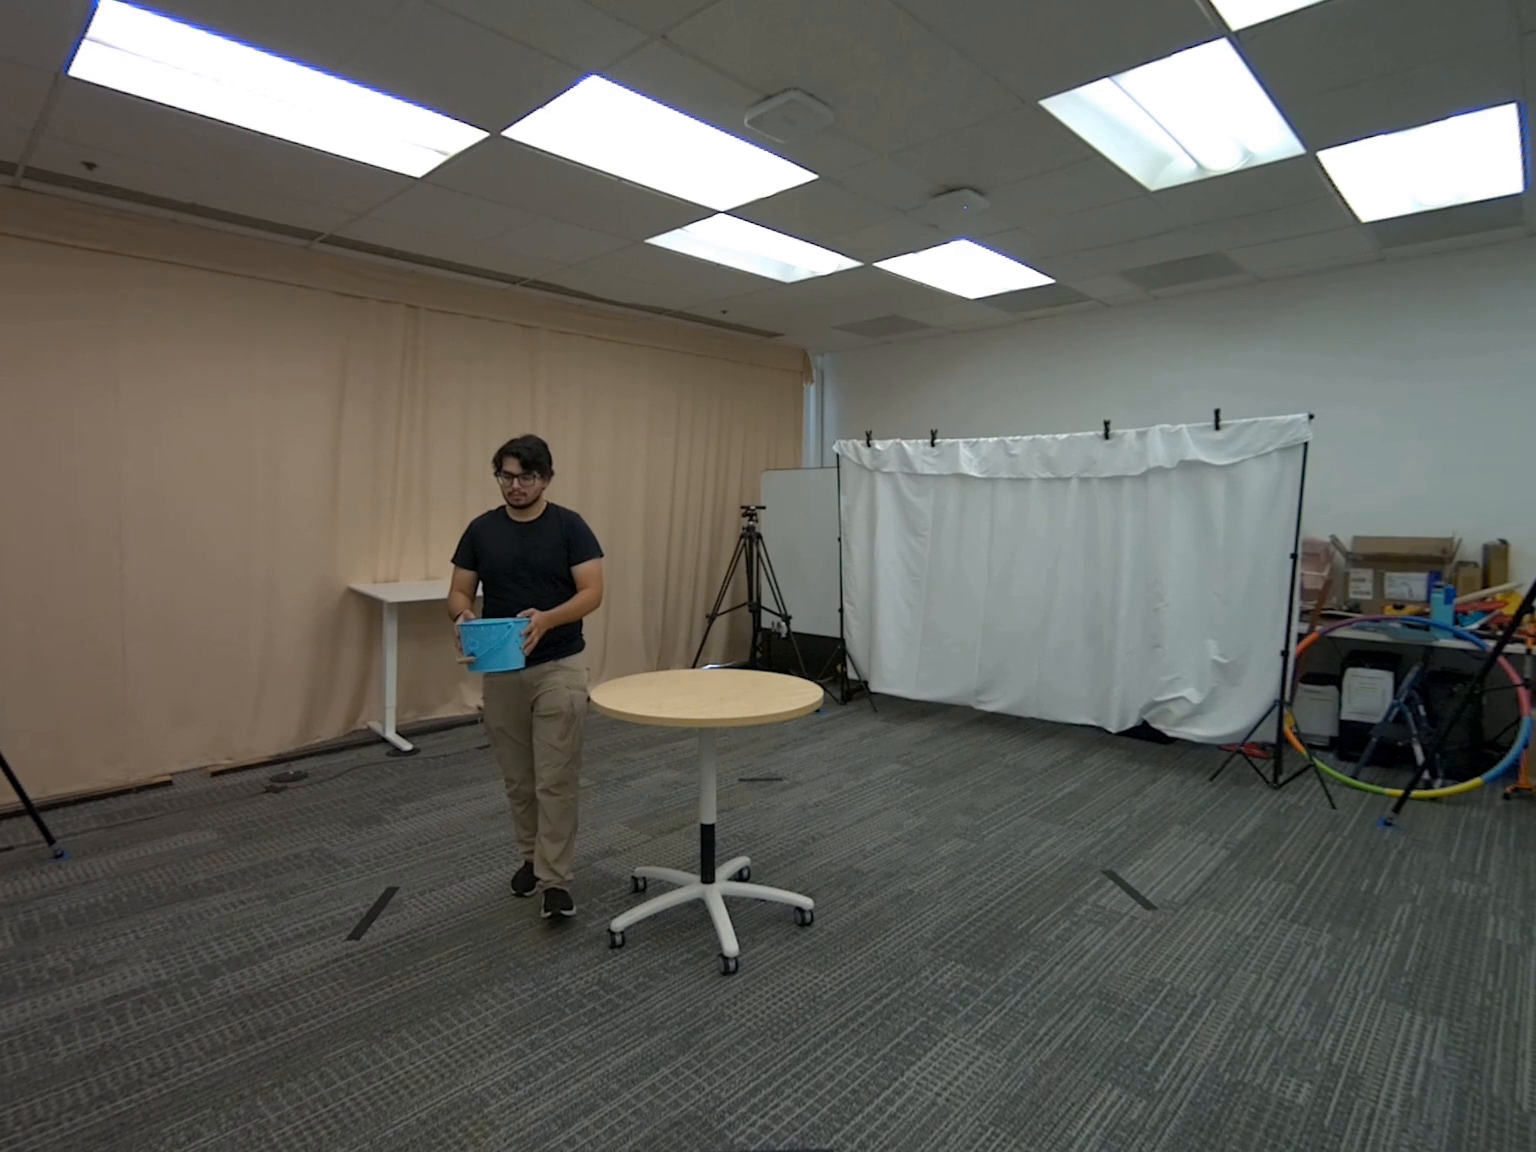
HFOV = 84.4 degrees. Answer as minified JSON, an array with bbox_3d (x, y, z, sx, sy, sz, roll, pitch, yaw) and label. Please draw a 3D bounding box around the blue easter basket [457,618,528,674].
[{"bbox_3d":[-0.882,0.218,2.672,0.243,0.156,0.244,-1,0,-2],"label":"blue easter basket"}]
